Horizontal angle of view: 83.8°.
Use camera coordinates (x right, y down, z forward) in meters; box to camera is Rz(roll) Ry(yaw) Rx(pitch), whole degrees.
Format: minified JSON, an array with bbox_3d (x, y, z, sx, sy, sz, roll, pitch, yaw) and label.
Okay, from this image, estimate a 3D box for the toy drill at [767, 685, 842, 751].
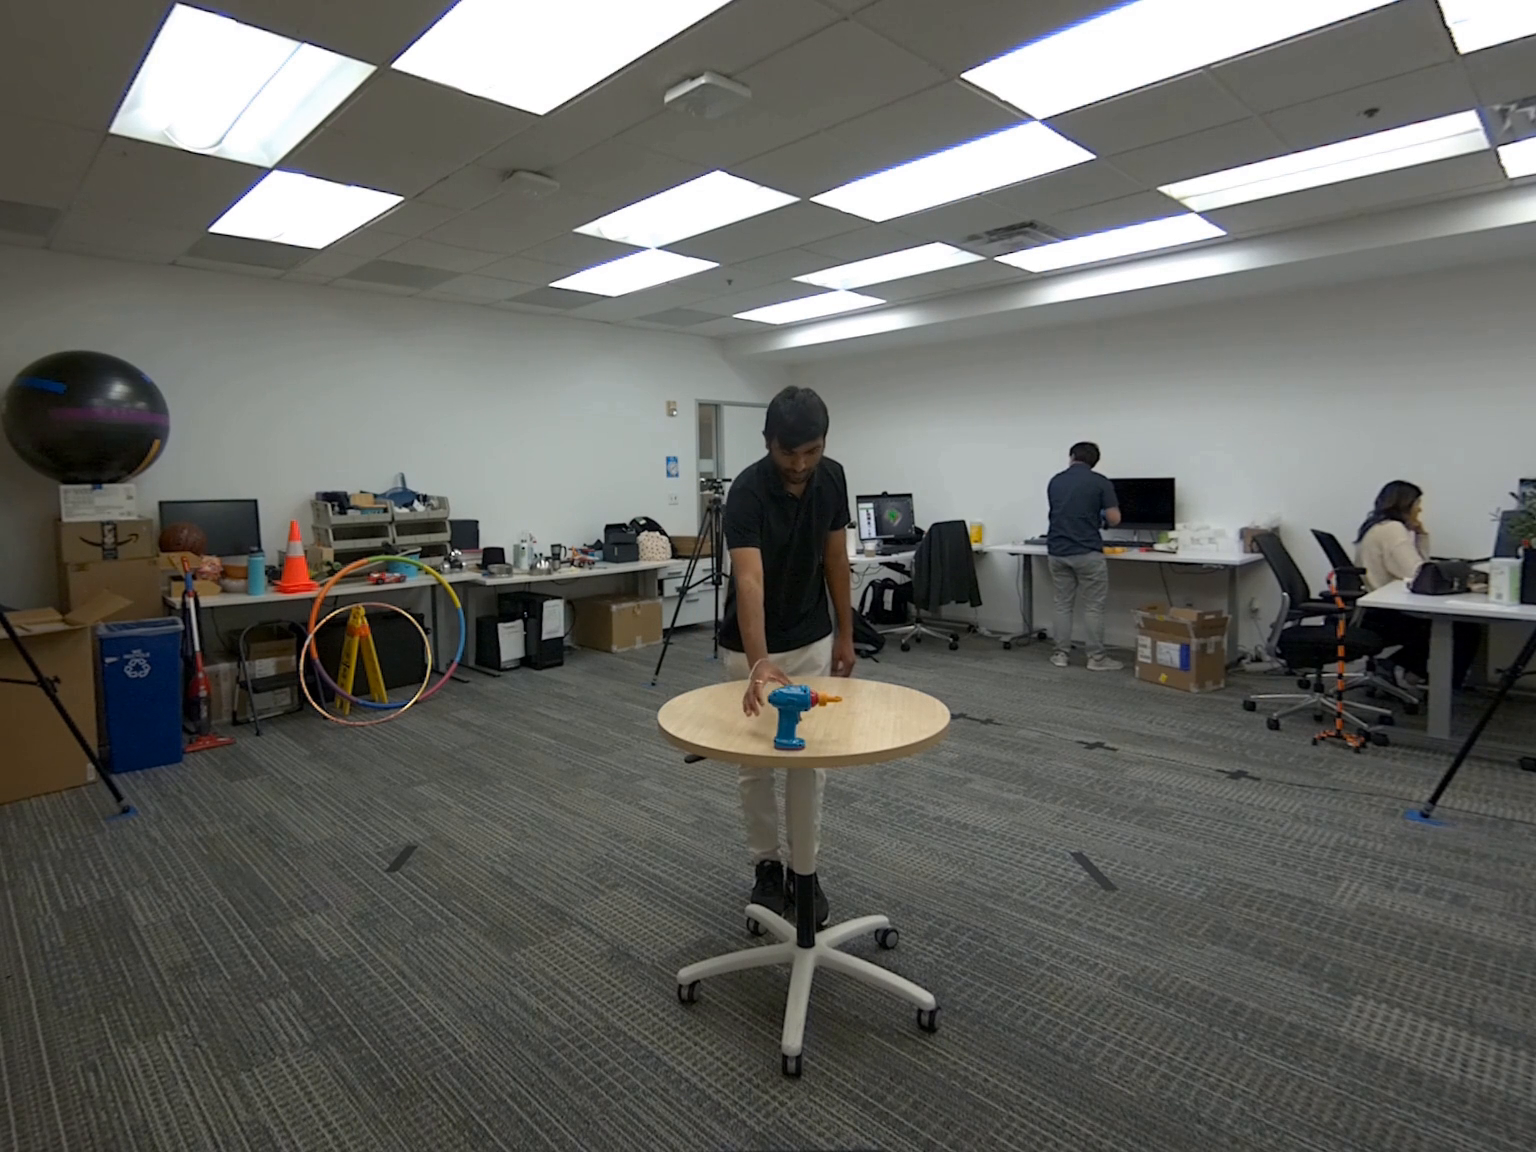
[{"bbox_3d":[0.086,0.322,1.950,0.170,0.145,0.061,-1,3,1],"label":"toy drill"}]
